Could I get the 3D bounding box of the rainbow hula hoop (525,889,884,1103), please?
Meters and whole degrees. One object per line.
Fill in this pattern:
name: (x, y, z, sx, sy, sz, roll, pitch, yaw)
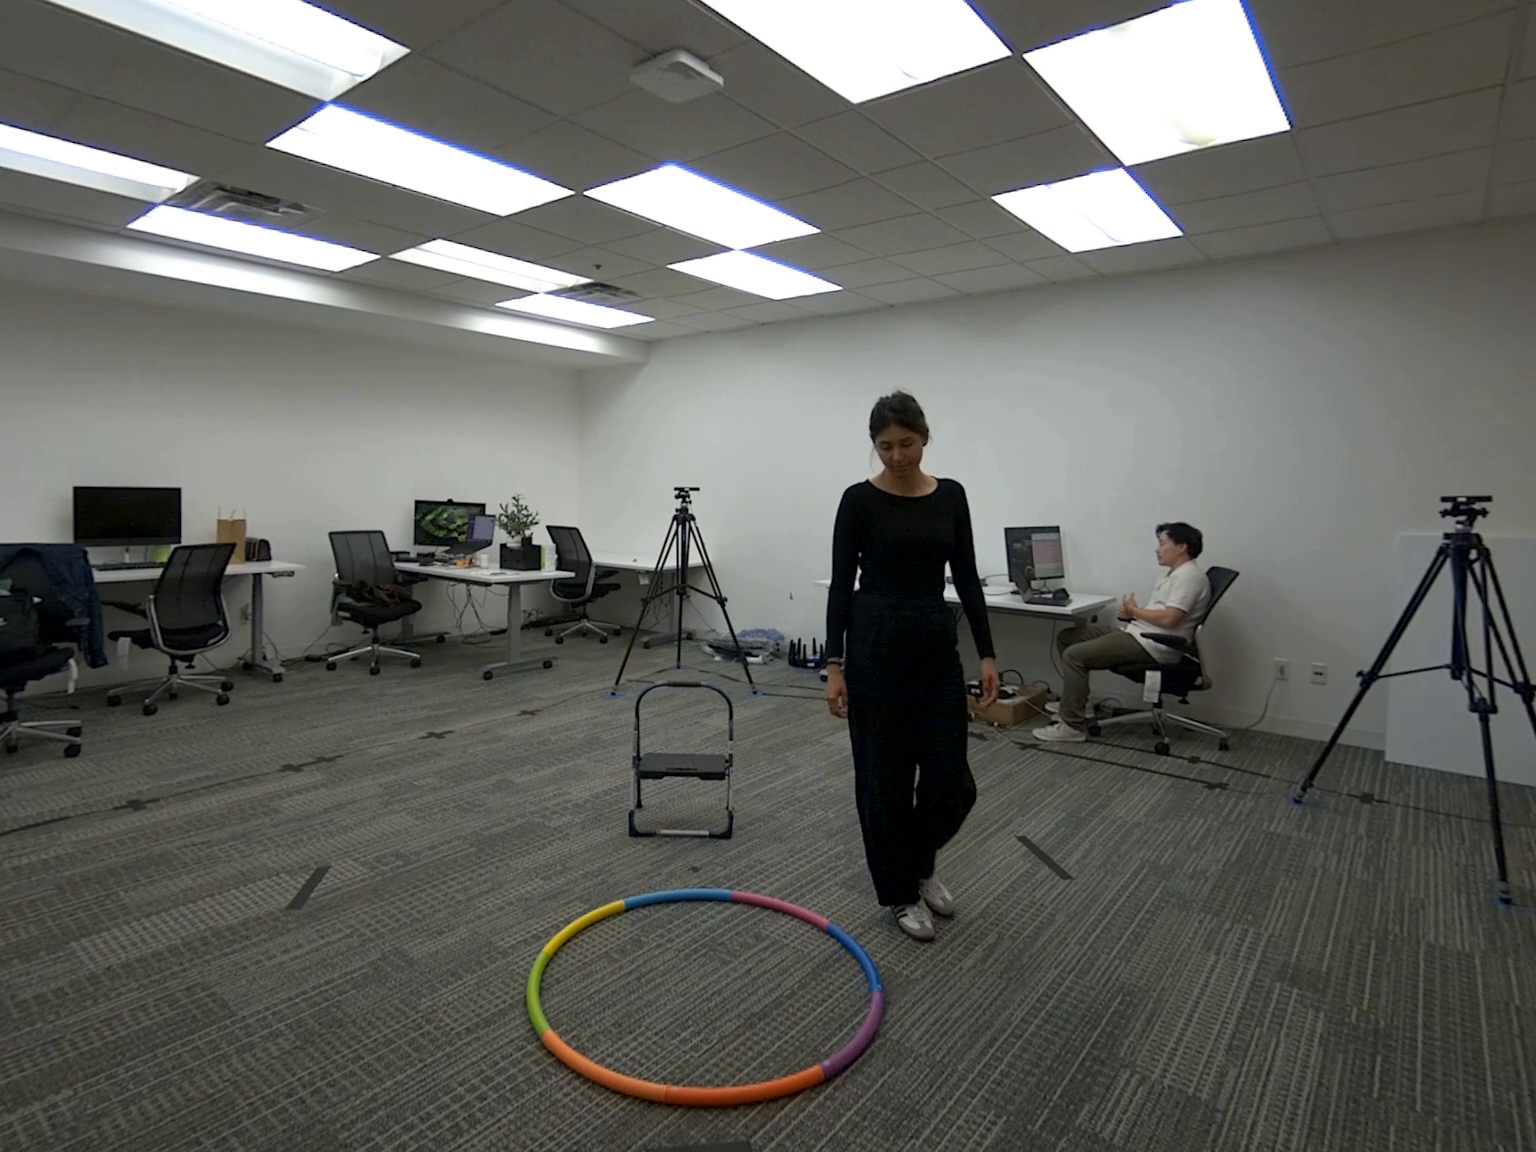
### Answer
rainbow hula hoop: (-0.180, 1.104, 2.401, 0.978, 0.035, 0.984, 1, 6, -2)
